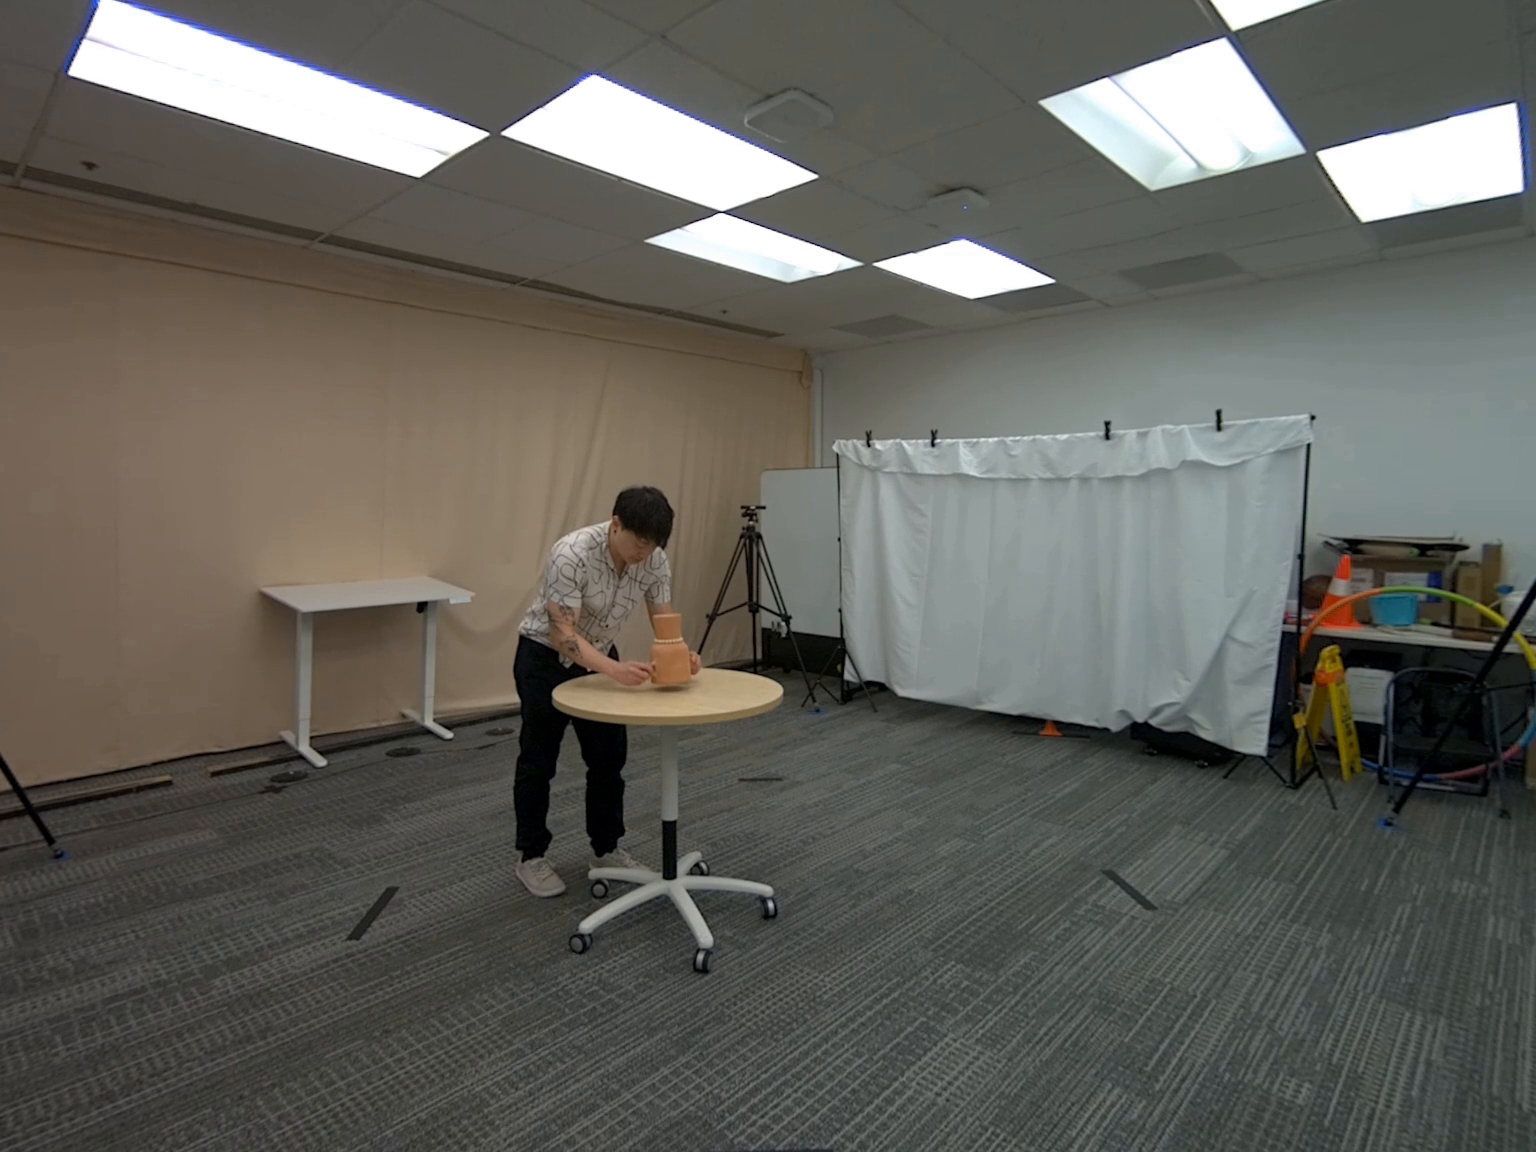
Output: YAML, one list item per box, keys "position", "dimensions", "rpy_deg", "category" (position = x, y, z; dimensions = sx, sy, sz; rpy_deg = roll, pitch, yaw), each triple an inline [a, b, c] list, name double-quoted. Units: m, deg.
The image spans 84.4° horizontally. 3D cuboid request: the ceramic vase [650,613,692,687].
- position: [-0.334, 0.243, 2.795]
  dimensions: [0.136, 0.220, 0.157]
  rpy_deg: [-5, 1, 7]
  category: "ceramic vase"
